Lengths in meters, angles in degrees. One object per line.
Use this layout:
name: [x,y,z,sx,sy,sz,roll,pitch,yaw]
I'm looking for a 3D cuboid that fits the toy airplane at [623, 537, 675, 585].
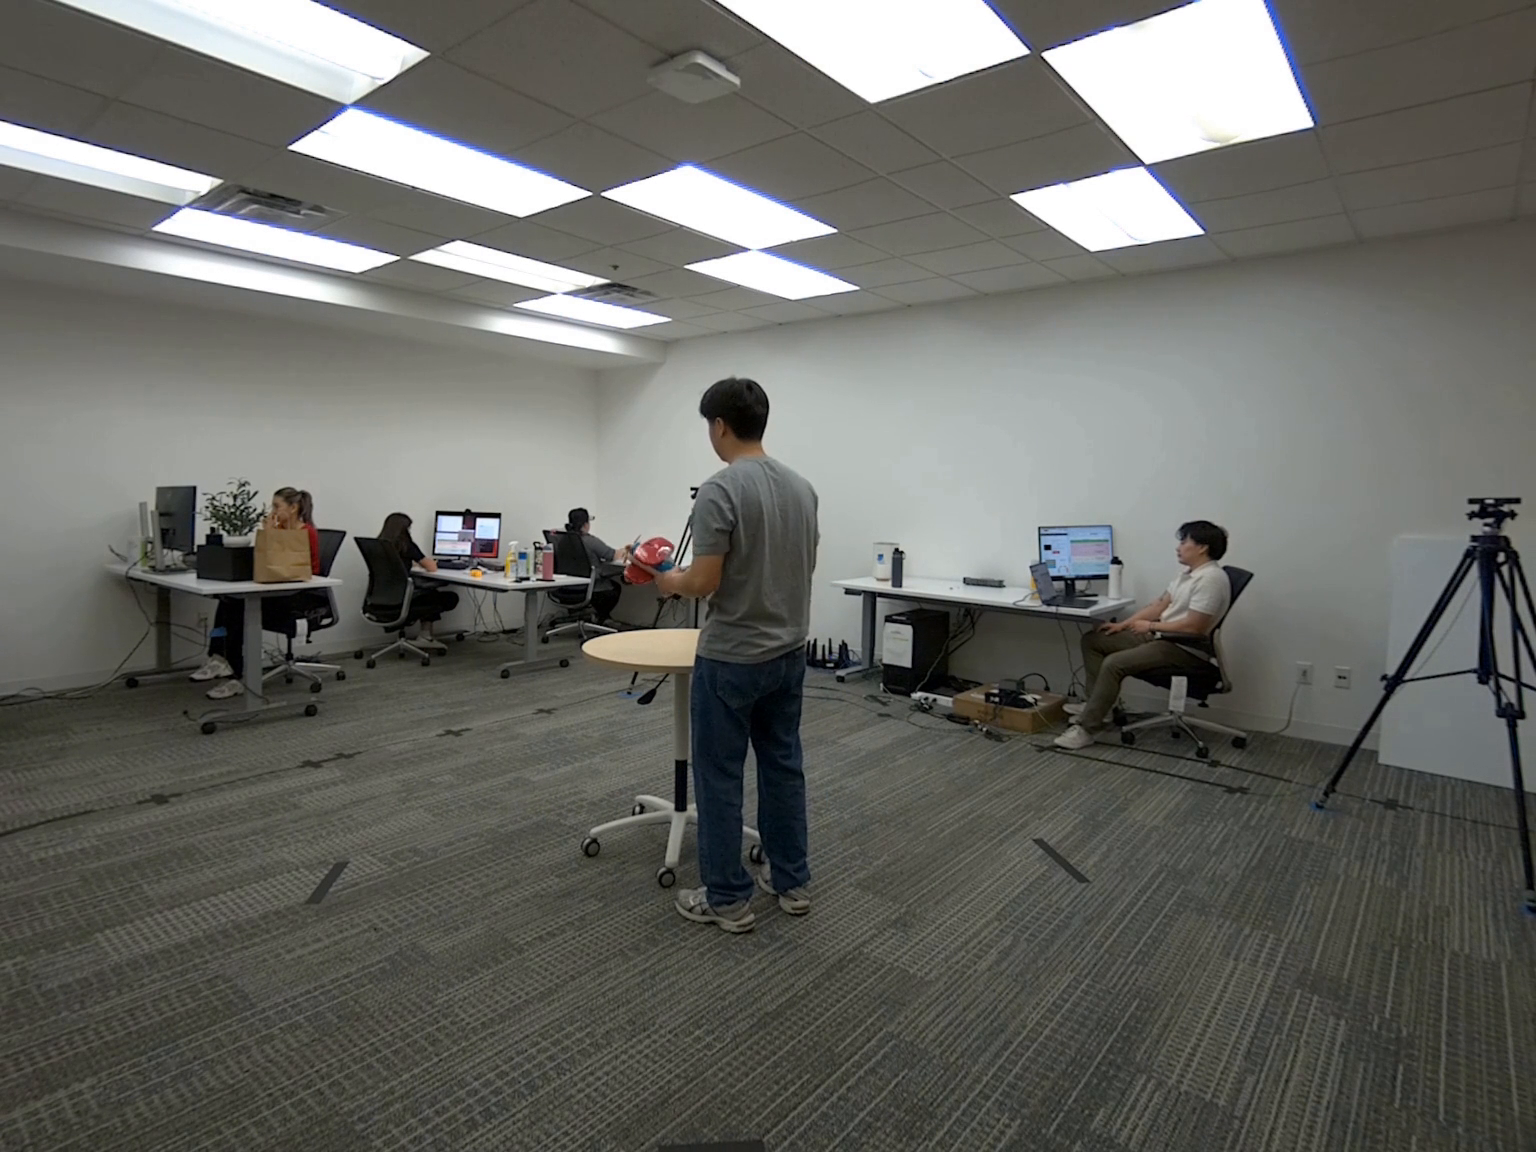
toy airplane: [-0.371,-0.049,2.964,0.254,0.154,0.259,8,22,-16]
